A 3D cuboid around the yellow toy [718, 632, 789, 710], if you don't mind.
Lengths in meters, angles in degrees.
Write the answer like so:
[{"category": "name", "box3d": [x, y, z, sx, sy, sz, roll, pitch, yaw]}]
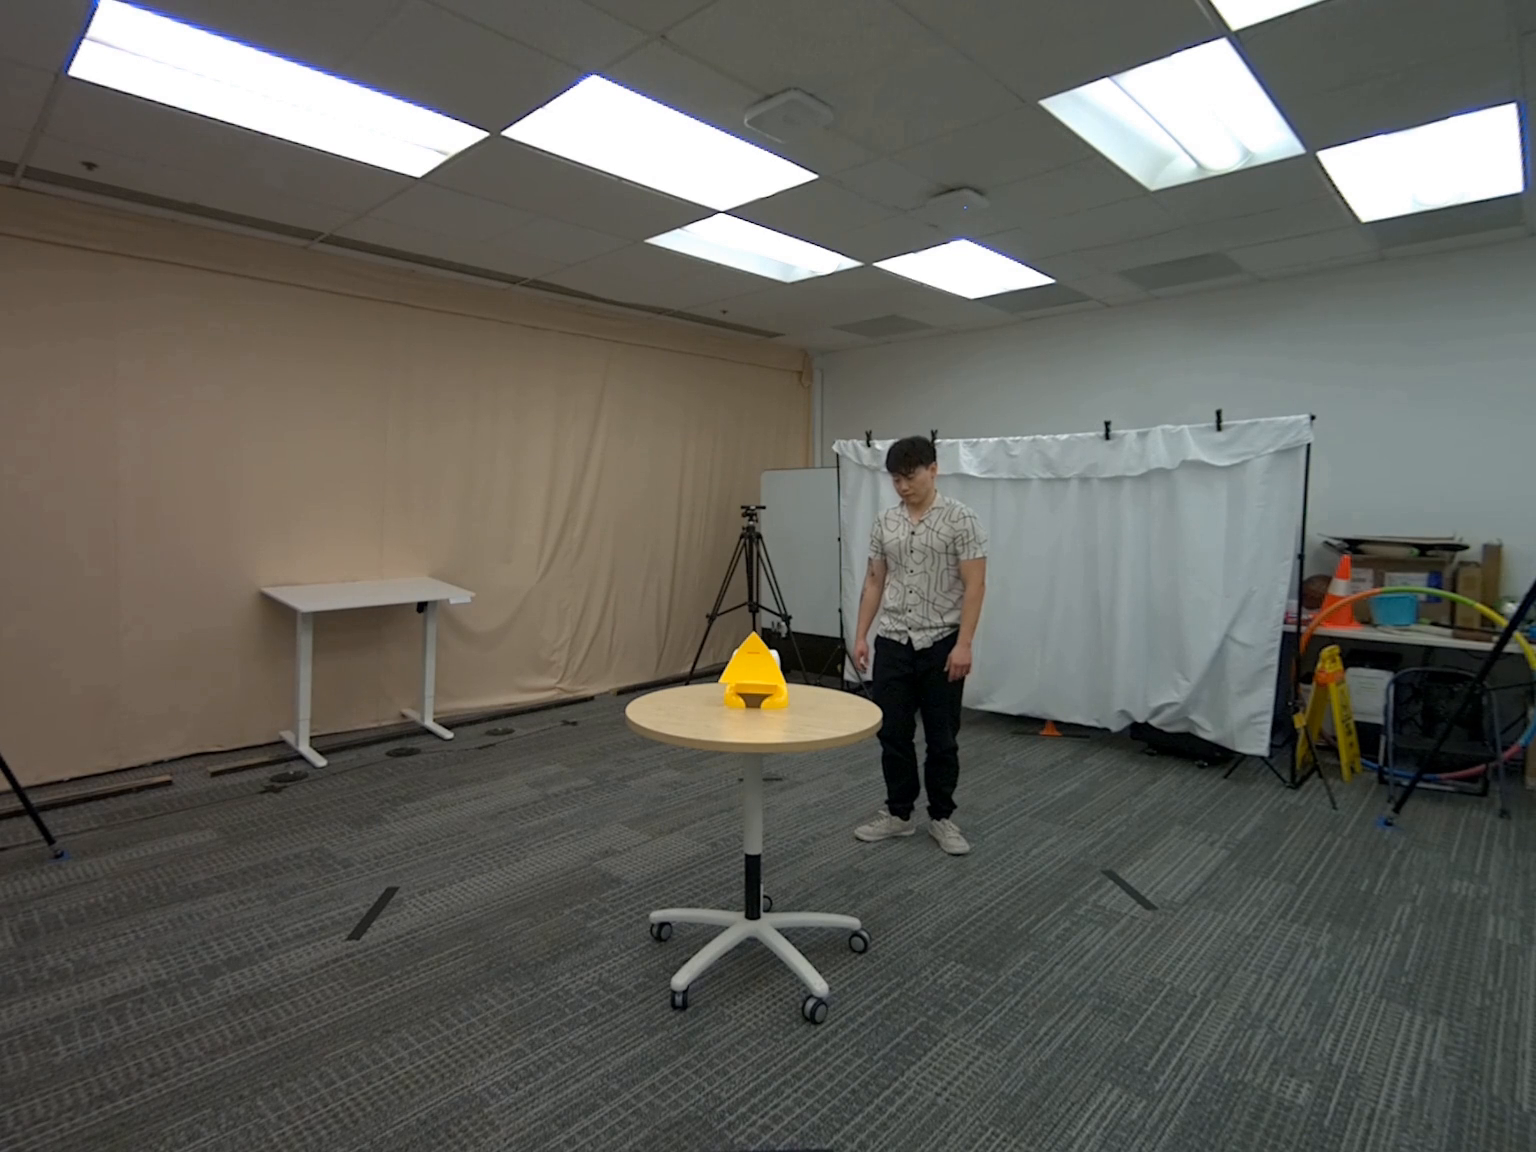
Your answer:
[{"category": "yellow toy", "box3d": [-0.030, 0.281, 2.593, 0.207, 0.230, 0.191, 0, 3, 8]}]
